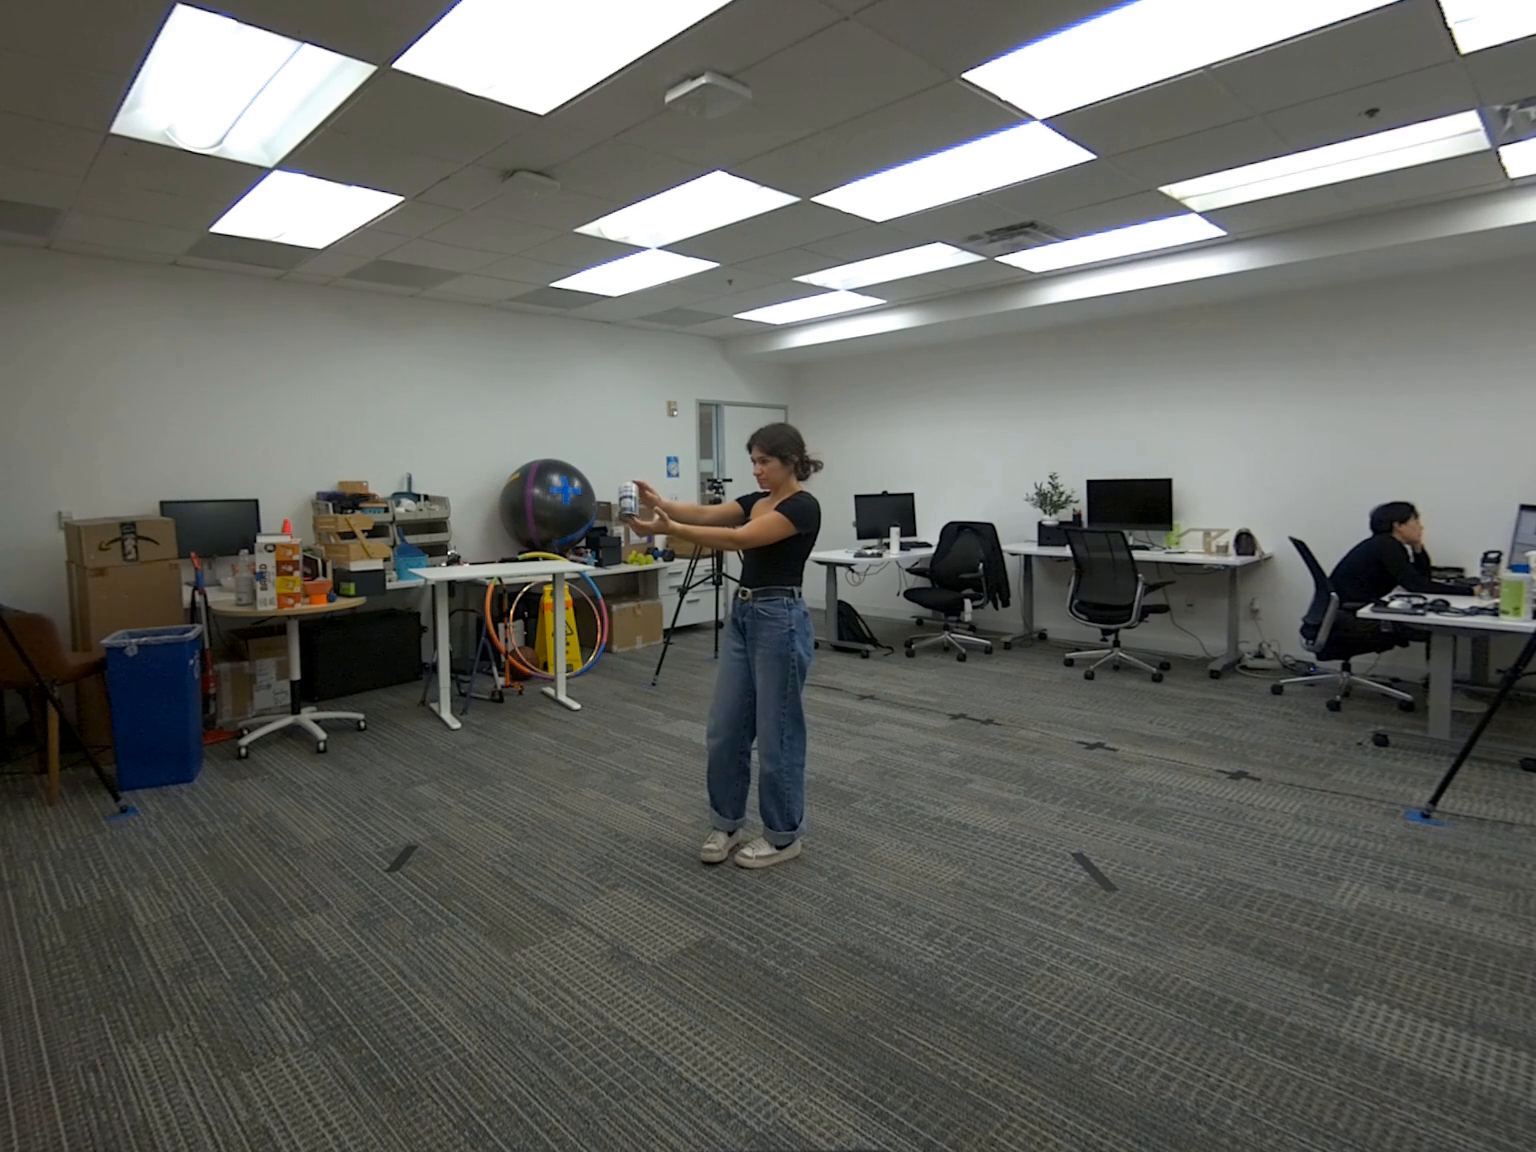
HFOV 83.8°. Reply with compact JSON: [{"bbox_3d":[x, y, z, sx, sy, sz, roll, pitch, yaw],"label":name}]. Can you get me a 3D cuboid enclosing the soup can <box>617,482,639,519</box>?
[{"bbox_3d":[-0.455,-0.240,2.776,0.067,0.124,0.066,-2,-26,-3],"label":"soup can"}]
